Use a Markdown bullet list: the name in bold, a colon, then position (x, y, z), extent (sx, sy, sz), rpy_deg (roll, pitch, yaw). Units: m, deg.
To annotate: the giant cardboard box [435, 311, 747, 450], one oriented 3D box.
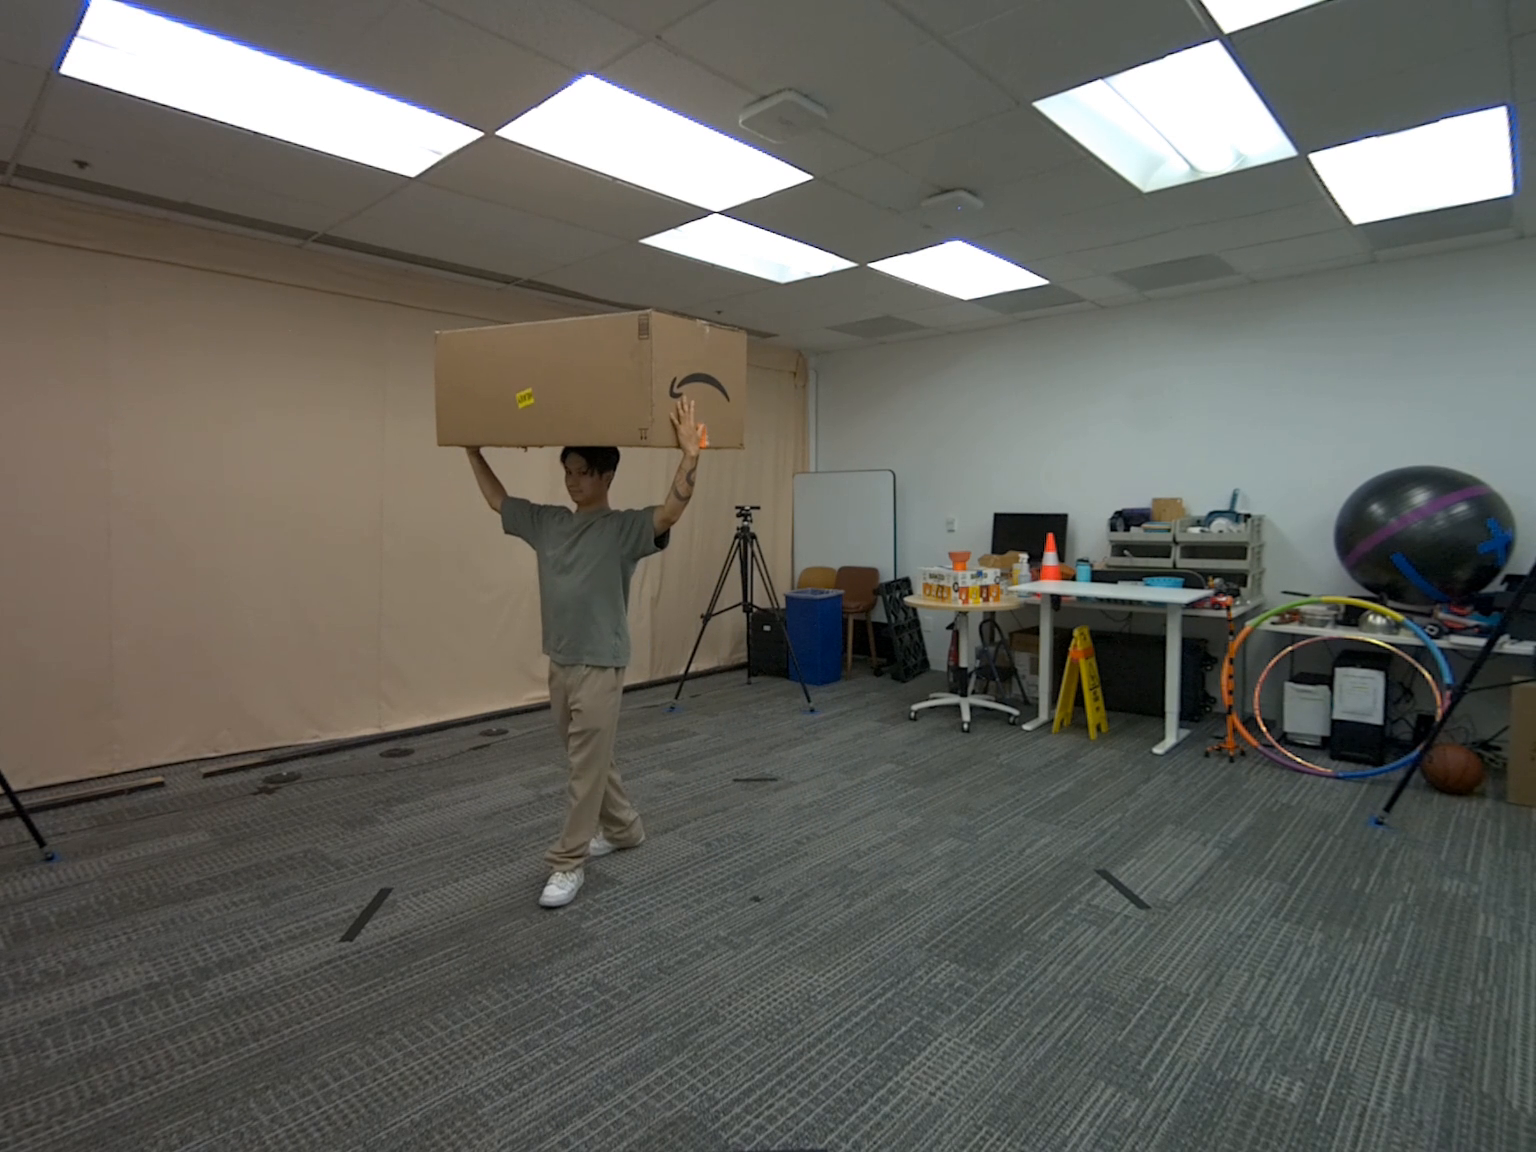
- **giant cardboard box**: position (-0.659, -0.690, 3.121), extent (1.057, 0.424, 0.562), rpy_deg (6, 9, 32)
